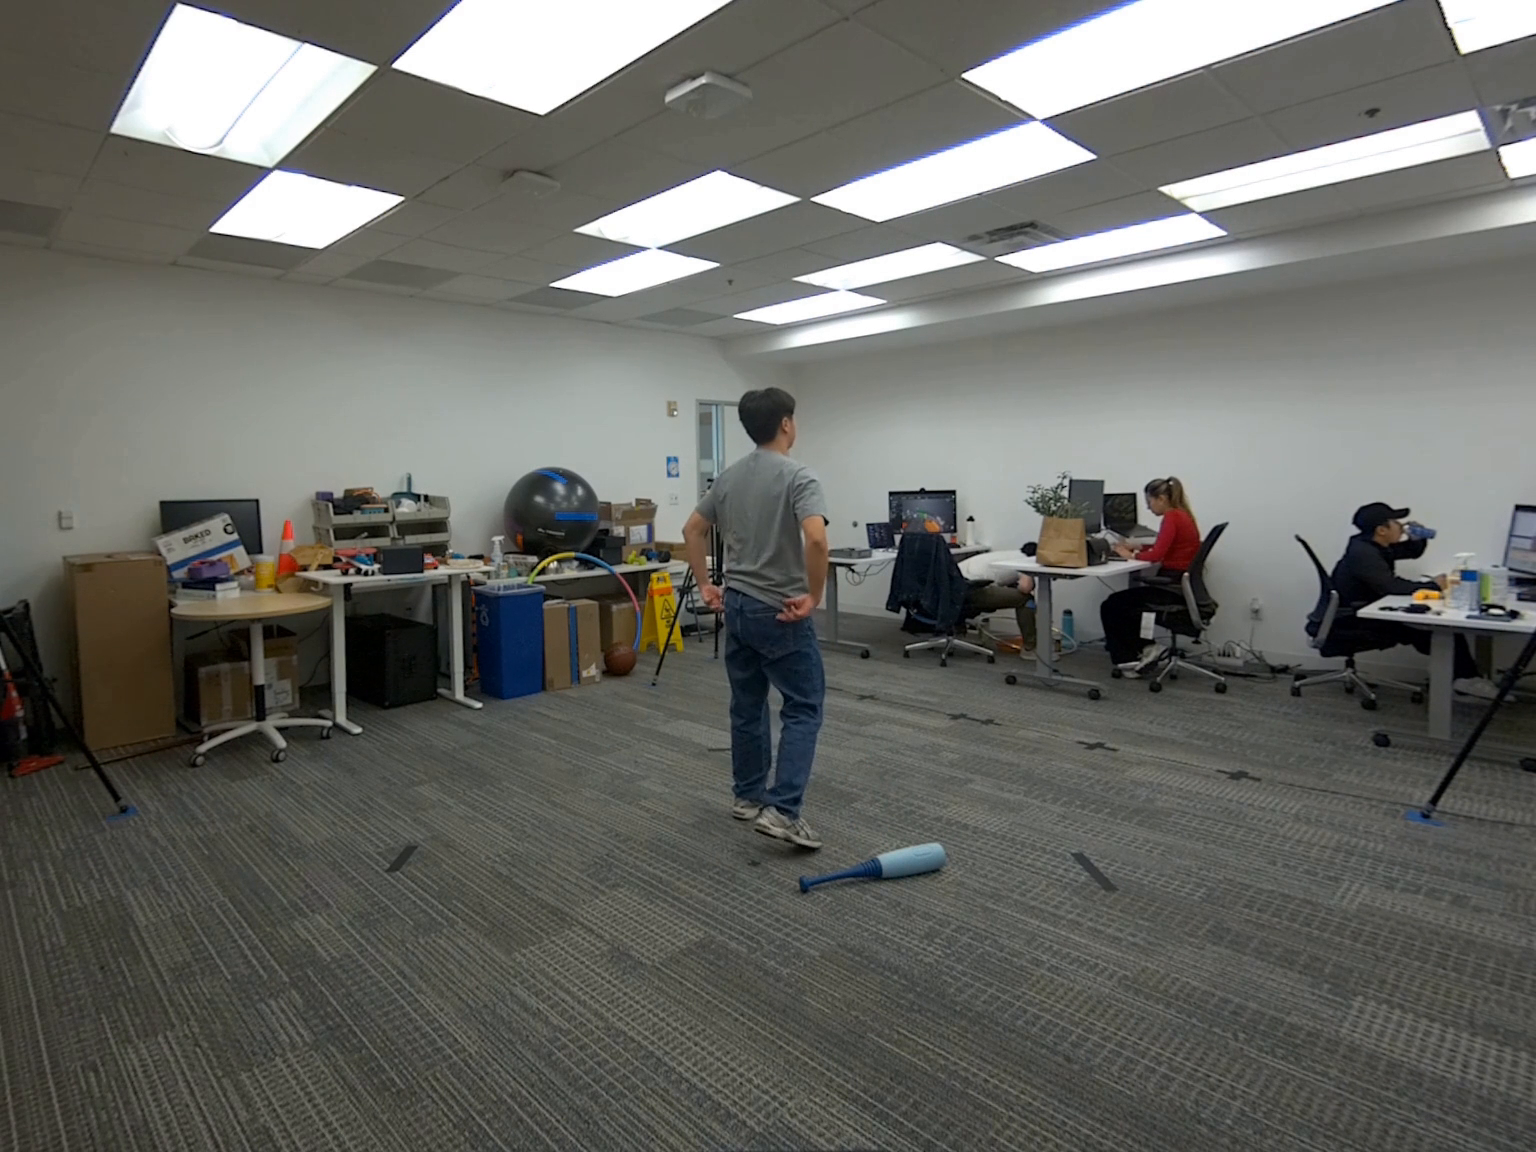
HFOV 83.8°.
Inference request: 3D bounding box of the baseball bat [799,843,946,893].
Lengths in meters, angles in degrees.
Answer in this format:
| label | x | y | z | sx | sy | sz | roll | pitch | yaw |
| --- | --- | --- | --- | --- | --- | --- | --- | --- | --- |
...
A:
| label | x | y | z | sx | sy | sz | roll | pitch | yaw |
| --- | --- | --- | --- | --- | --- | --- | --- | --- | --- |
| baseball bat | 0.372 | 1.018 | 2.960 | 0.536 | 0.088 | 0.091 | -6 | 6 | -16 |
